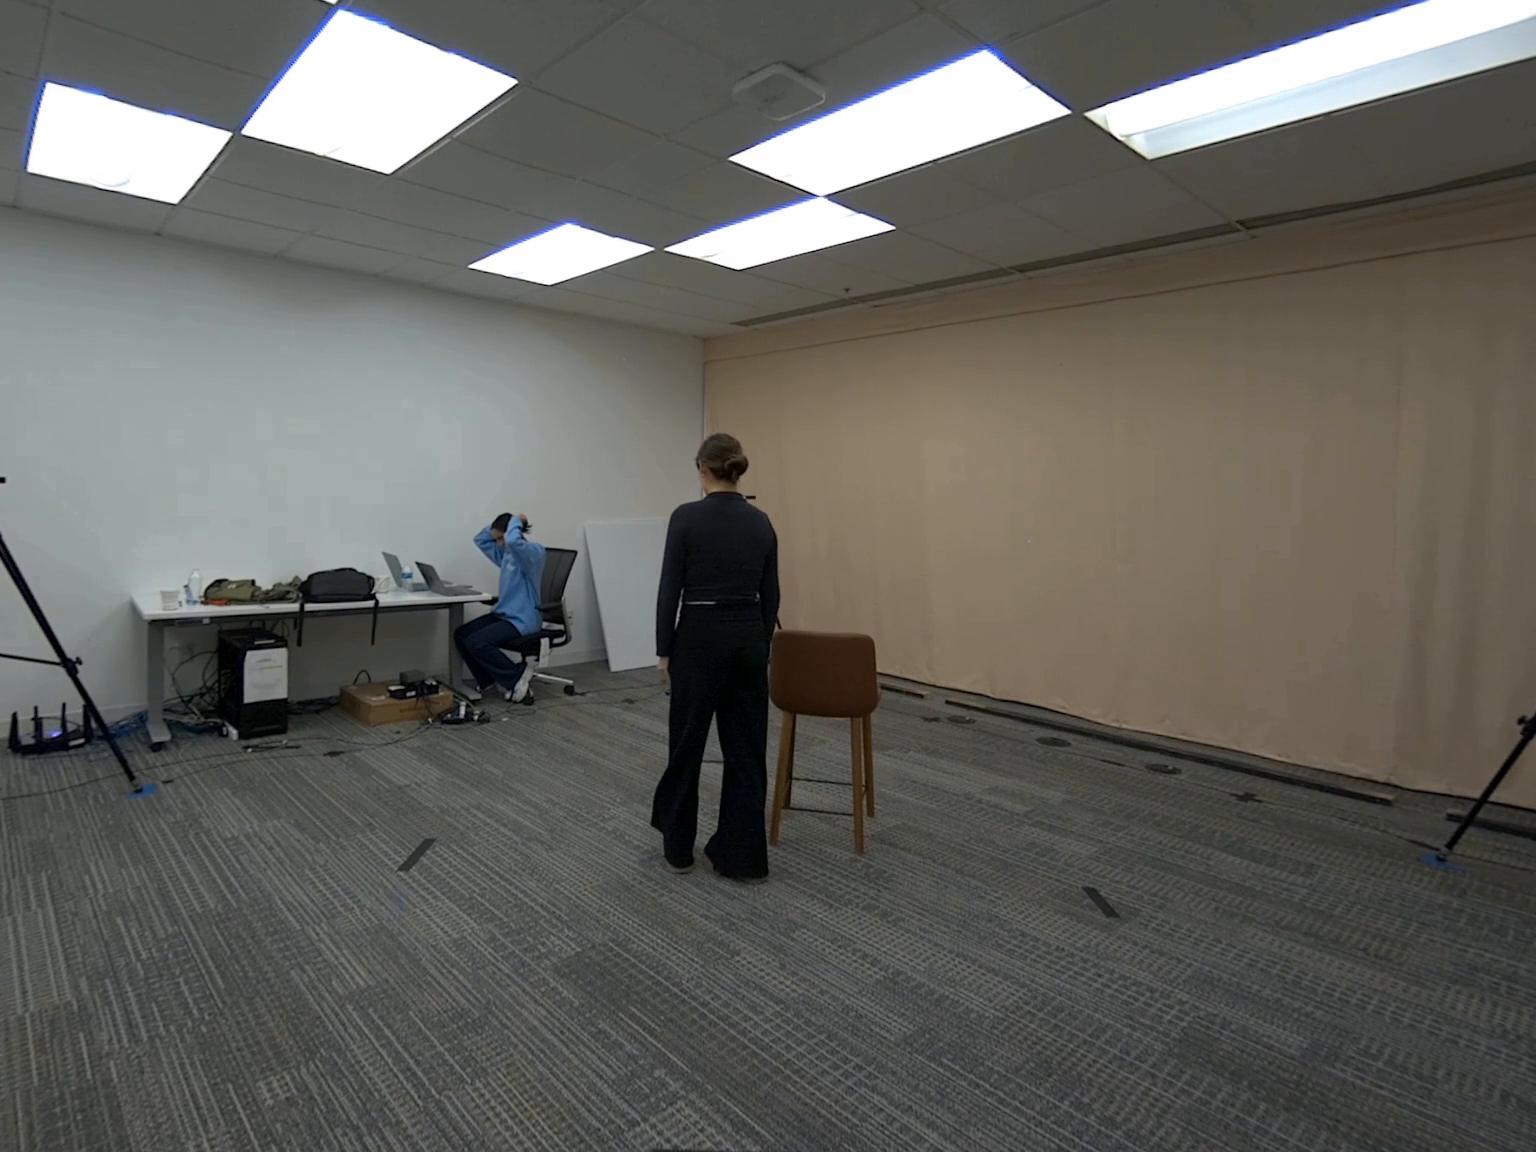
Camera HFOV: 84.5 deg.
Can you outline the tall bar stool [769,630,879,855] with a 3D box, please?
[{"bbox_3d":[0.234,0.638,3.541,0.462,0.887,0.464,2,5,13],"label":"tall bar stool"}]
